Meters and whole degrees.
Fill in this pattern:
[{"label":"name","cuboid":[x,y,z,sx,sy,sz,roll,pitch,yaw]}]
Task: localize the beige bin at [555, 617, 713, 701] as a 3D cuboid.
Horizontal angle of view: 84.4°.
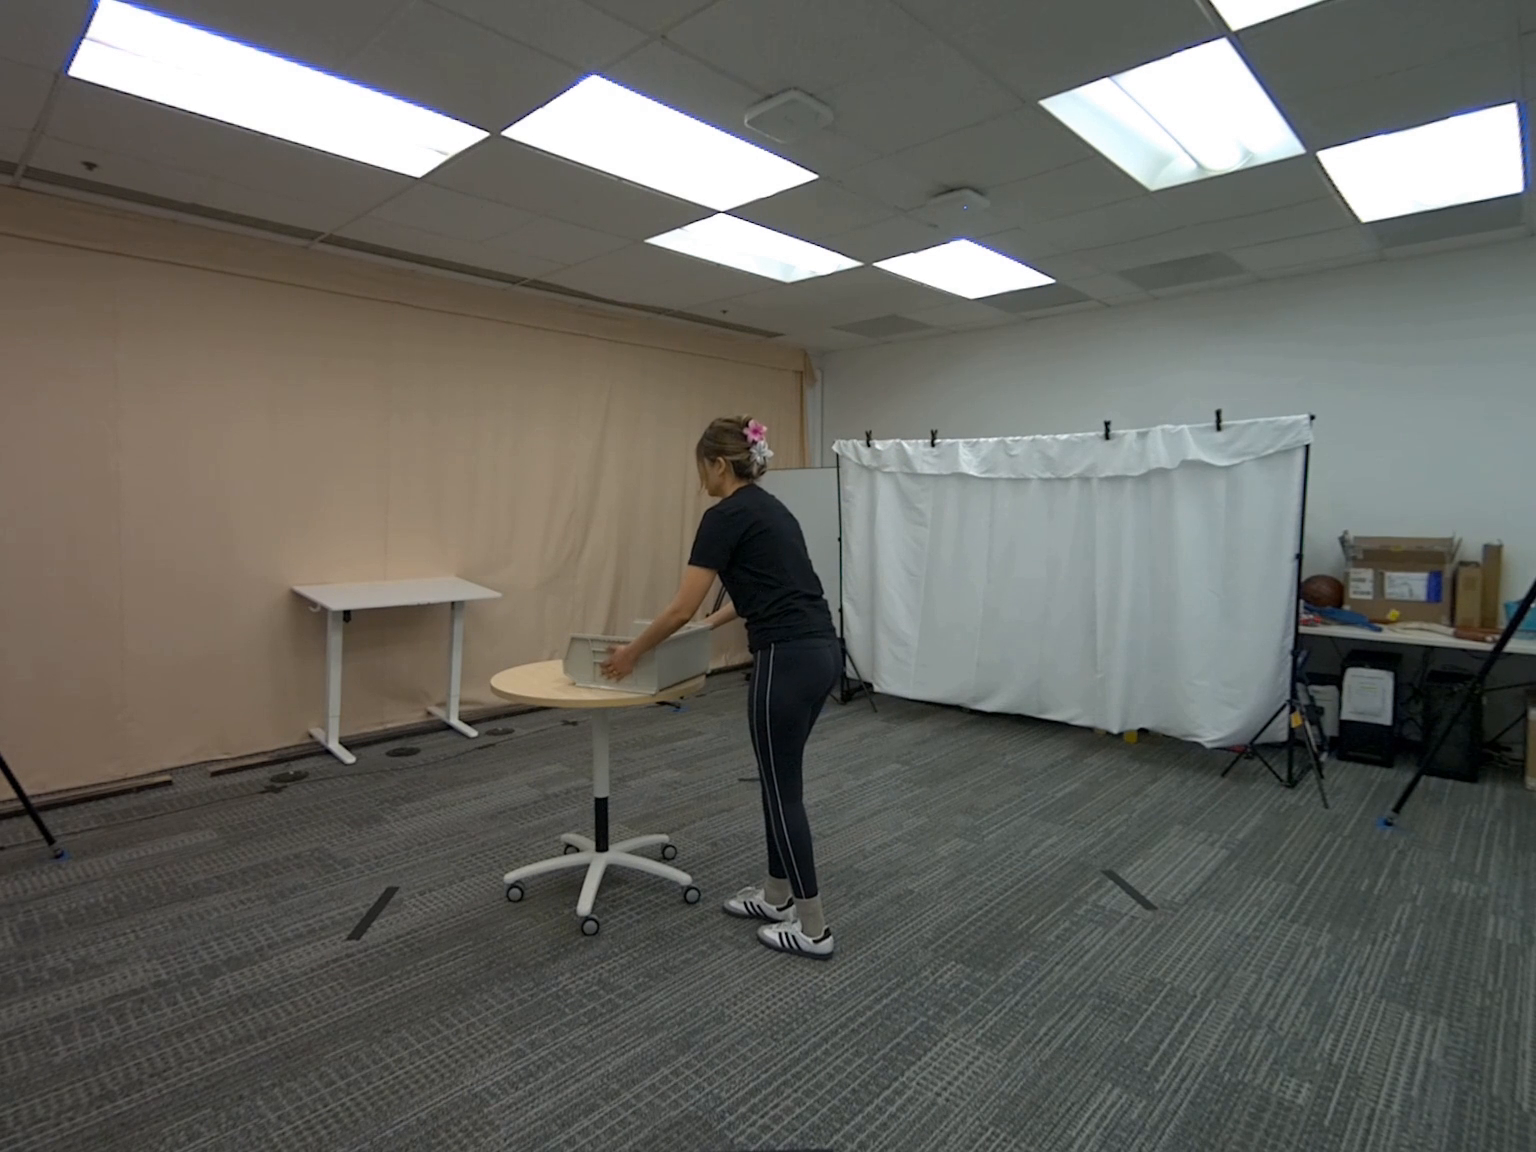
[{"label":"beige bin","cuboid":[-0.463,0.276,2.974,0.387,0.188,0.412,3,5,24]}]
